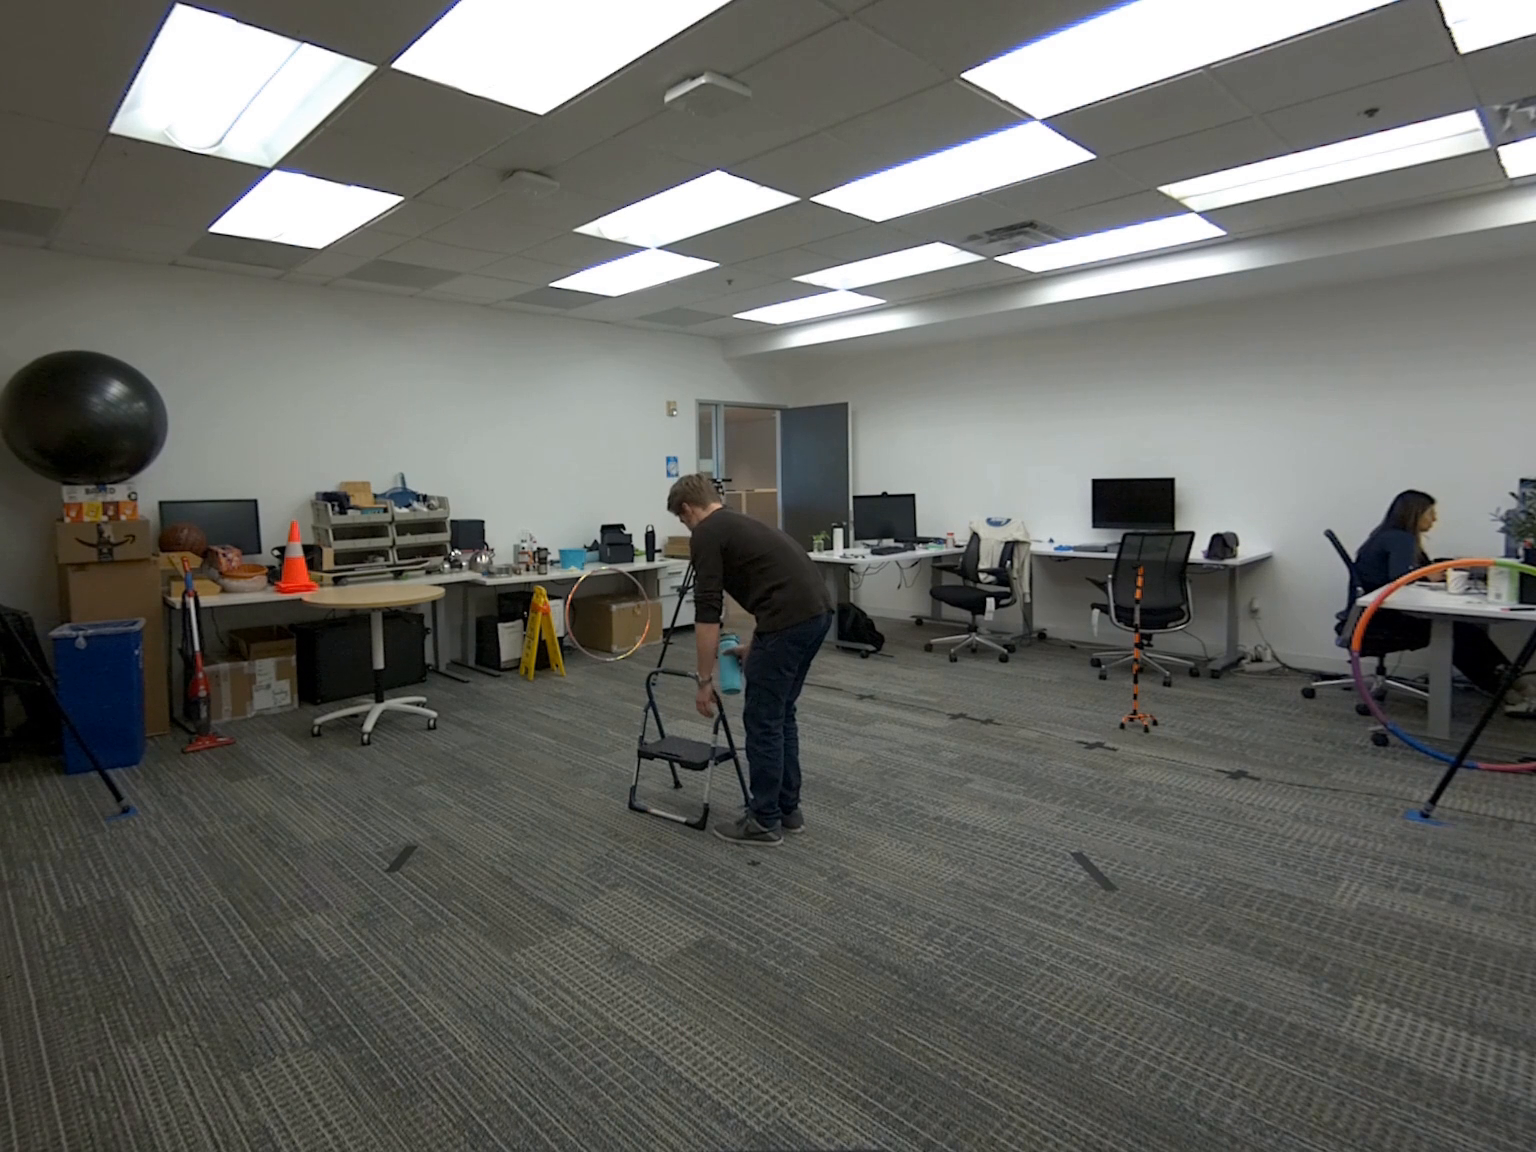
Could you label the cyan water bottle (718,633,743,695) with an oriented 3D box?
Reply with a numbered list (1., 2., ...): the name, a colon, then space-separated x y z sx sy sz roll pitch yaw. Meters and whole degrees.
1. cyan water bottle: -0.179 0.386 3.806 0.092 0.290 0.090 -1 -28 -2
